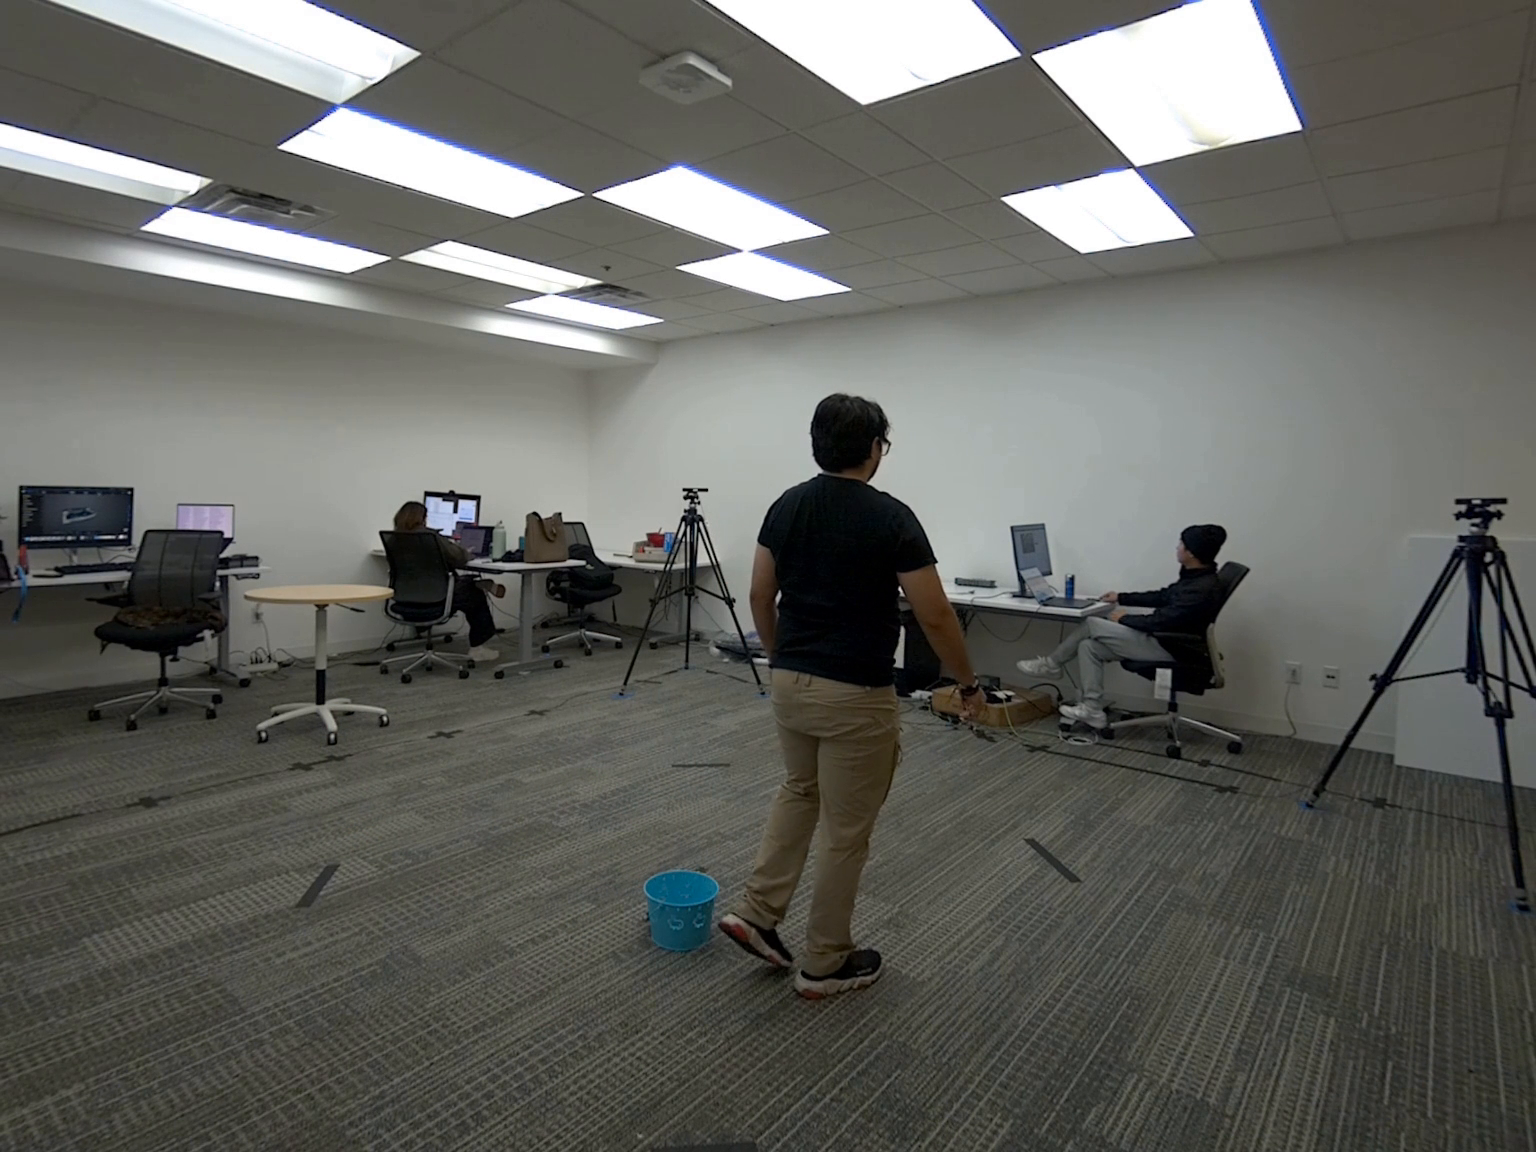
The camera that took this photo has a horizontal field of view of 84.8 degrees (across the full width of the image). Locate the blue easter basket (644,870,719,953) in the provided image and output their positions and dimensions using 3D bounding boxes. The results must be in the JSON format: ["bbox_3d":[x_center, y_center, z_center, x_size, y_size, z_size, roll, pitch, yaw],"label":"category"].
[{"bbox_3d":[-0.278,1.036,2.643,0.243,0.155,0.245,1,5,-2],"label":"blue easter basket"}]
